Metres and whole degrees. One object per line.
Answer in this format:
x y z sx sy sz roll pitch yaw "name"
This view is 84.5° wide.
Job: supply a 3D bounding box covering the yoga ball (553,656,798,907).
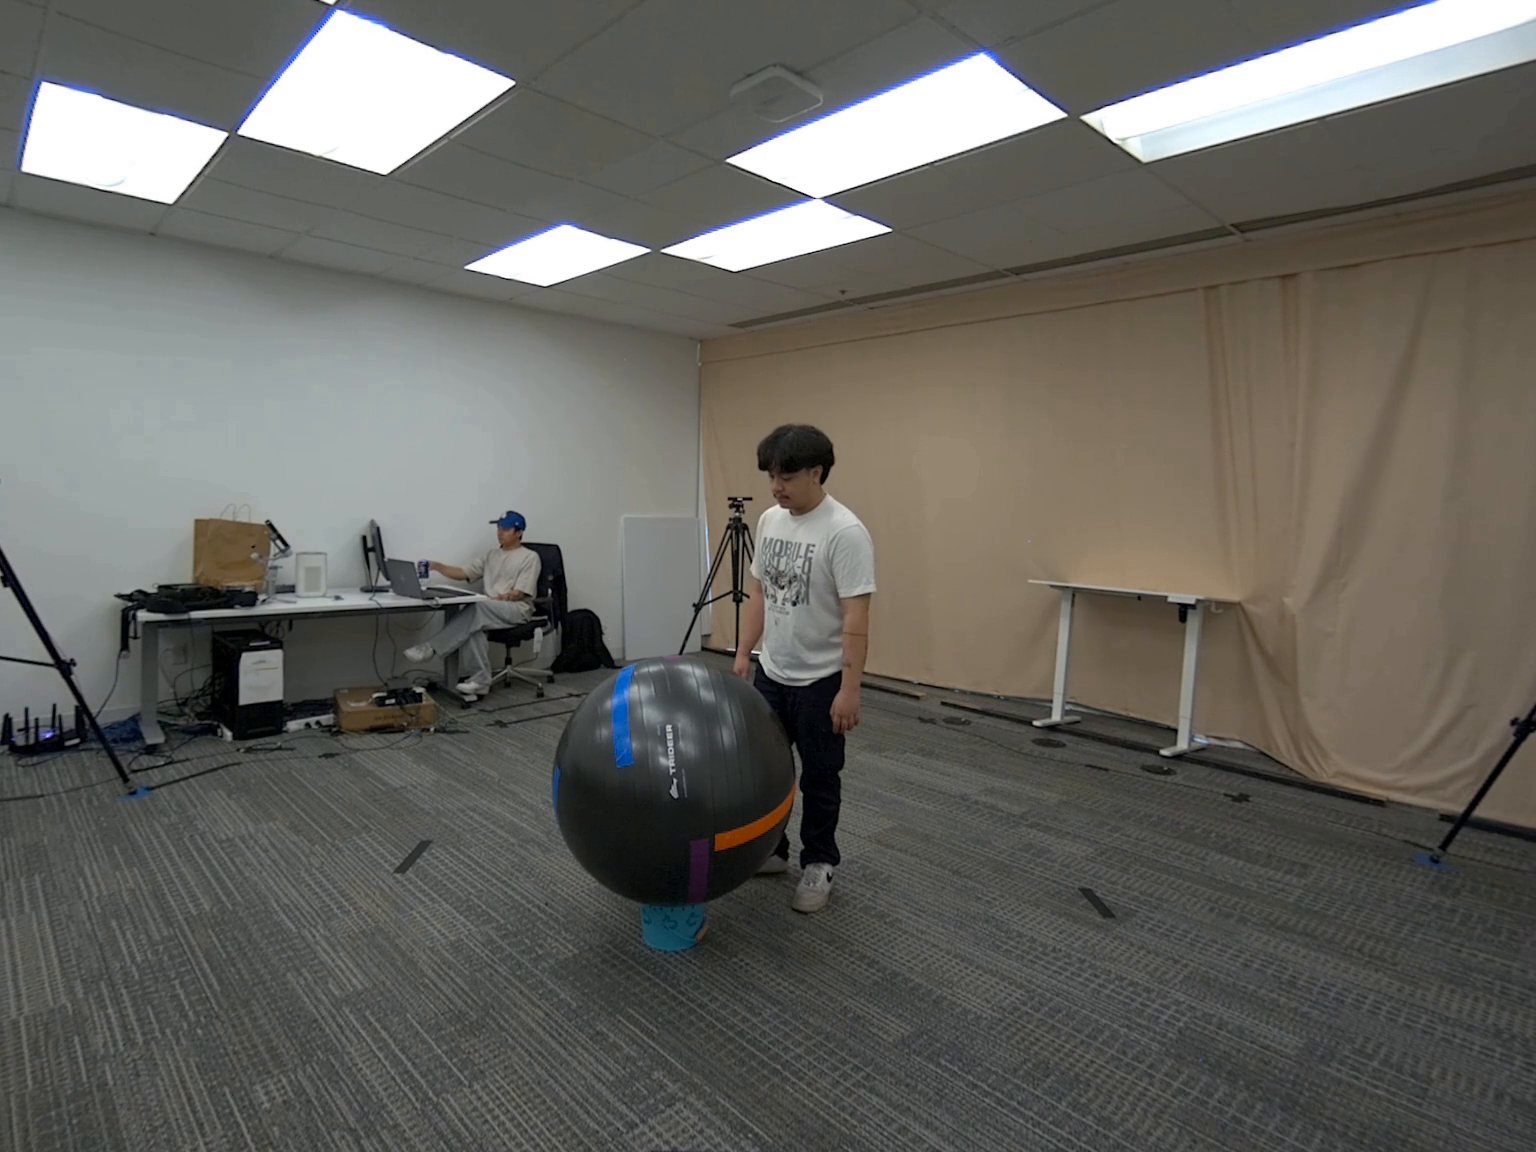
-0.295 0.635 2.651 0.757 0.756 0.760 1 4 -1 "yoga ball"
